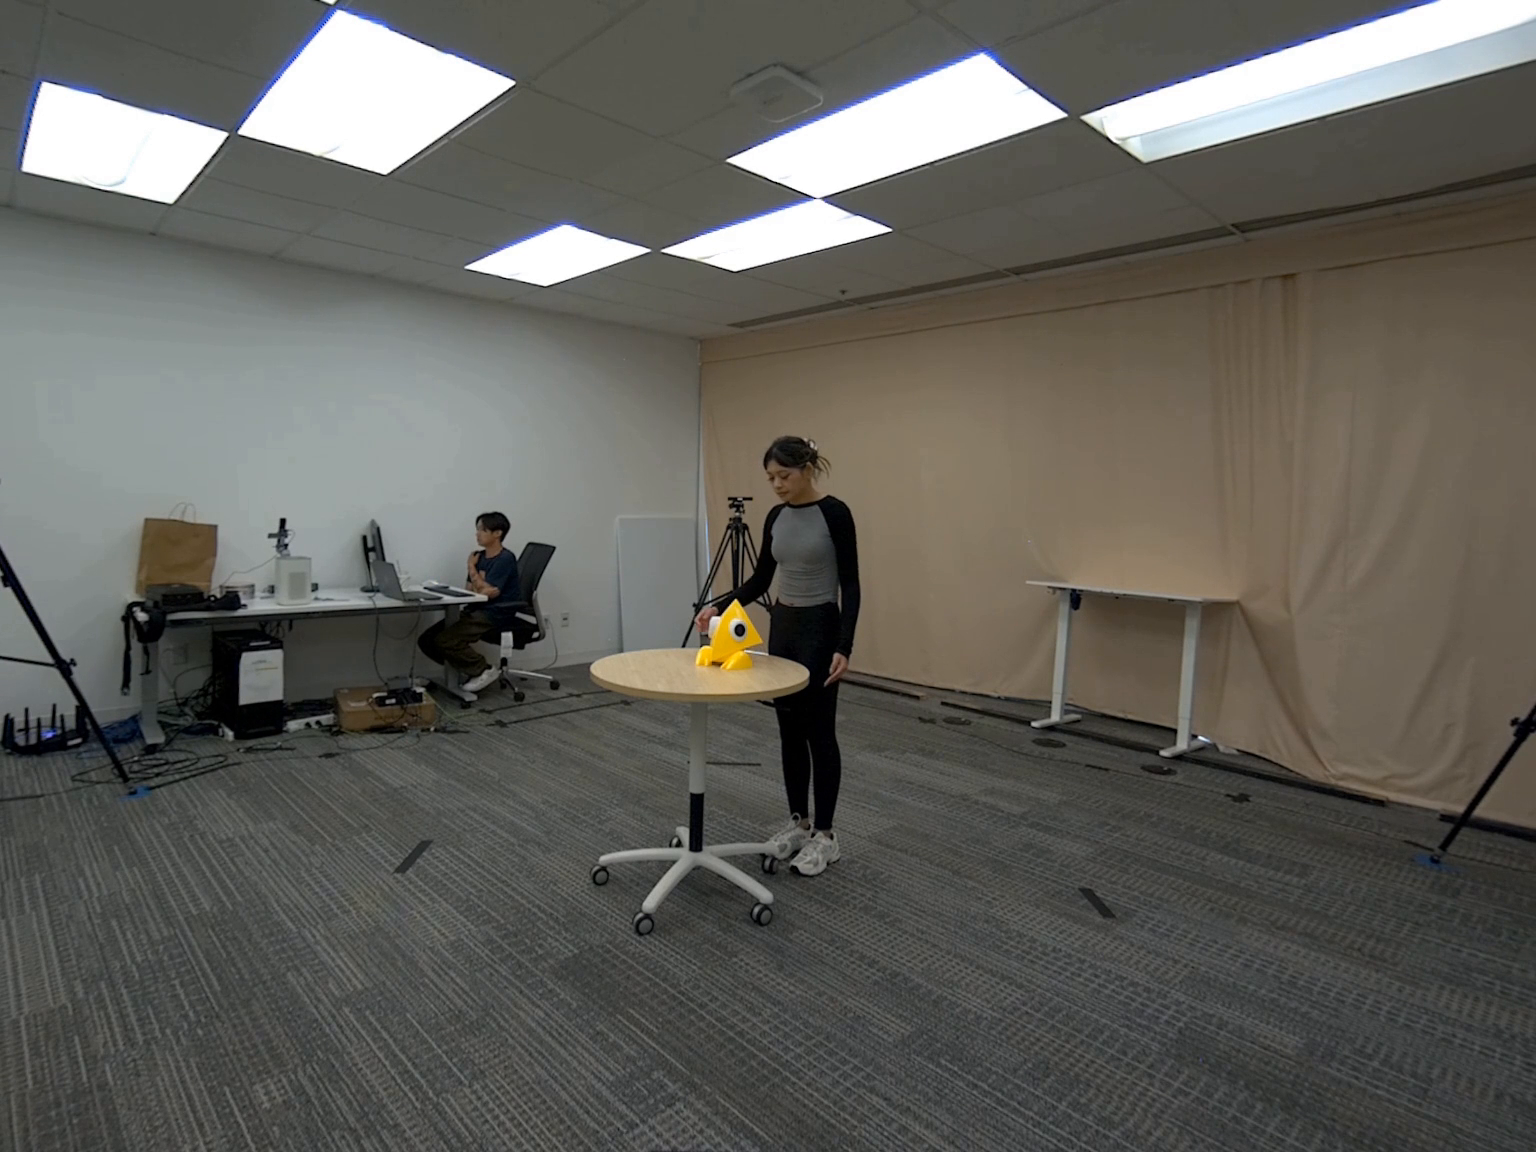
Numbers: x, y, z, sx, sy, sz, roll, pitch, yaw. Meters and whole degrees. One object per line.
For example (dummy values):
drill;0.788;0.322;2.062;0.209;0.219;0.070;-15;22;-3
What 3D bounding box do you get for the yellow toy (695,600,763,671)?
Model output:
yellow toy;-0.156;0.206;3.035;0.209;0.230;0.189;5;5;30
